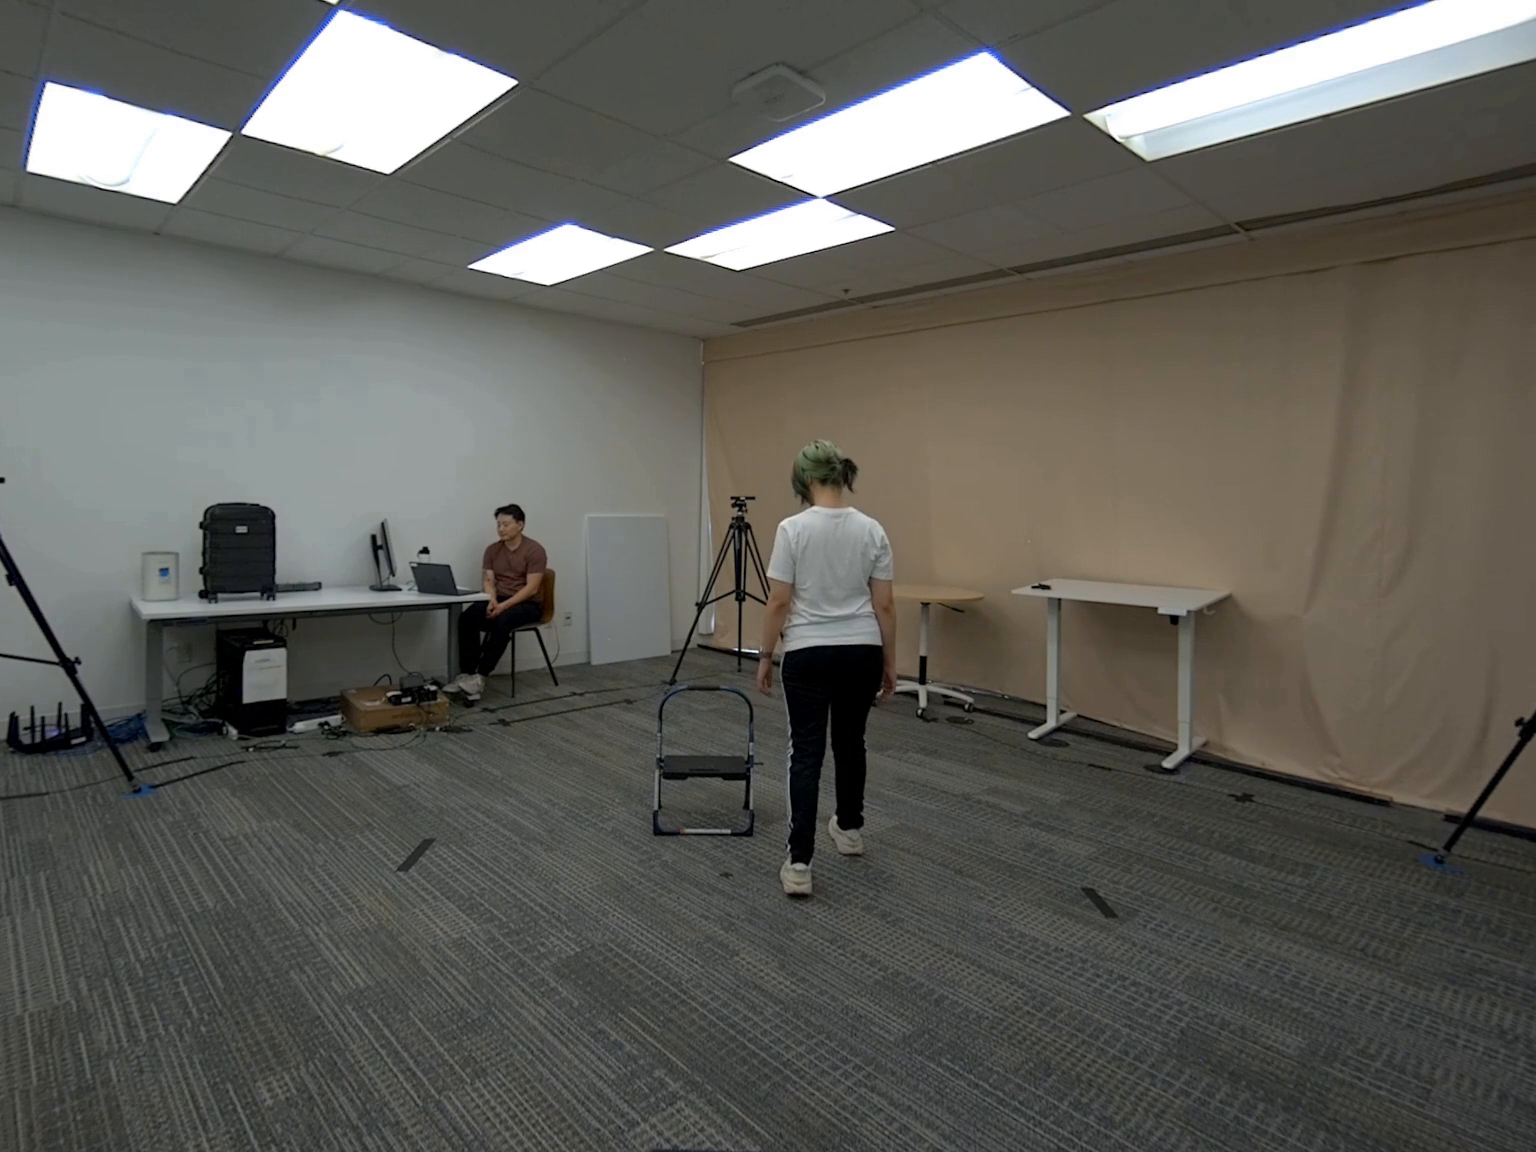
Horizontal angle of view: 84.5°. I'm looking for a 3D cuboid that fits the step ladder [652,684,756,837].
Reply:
[{"bbox_3d":[-0.280,0.756,3.618,0.429,0.605,0.351,1,3,-4],"label":"step ladder"}]
